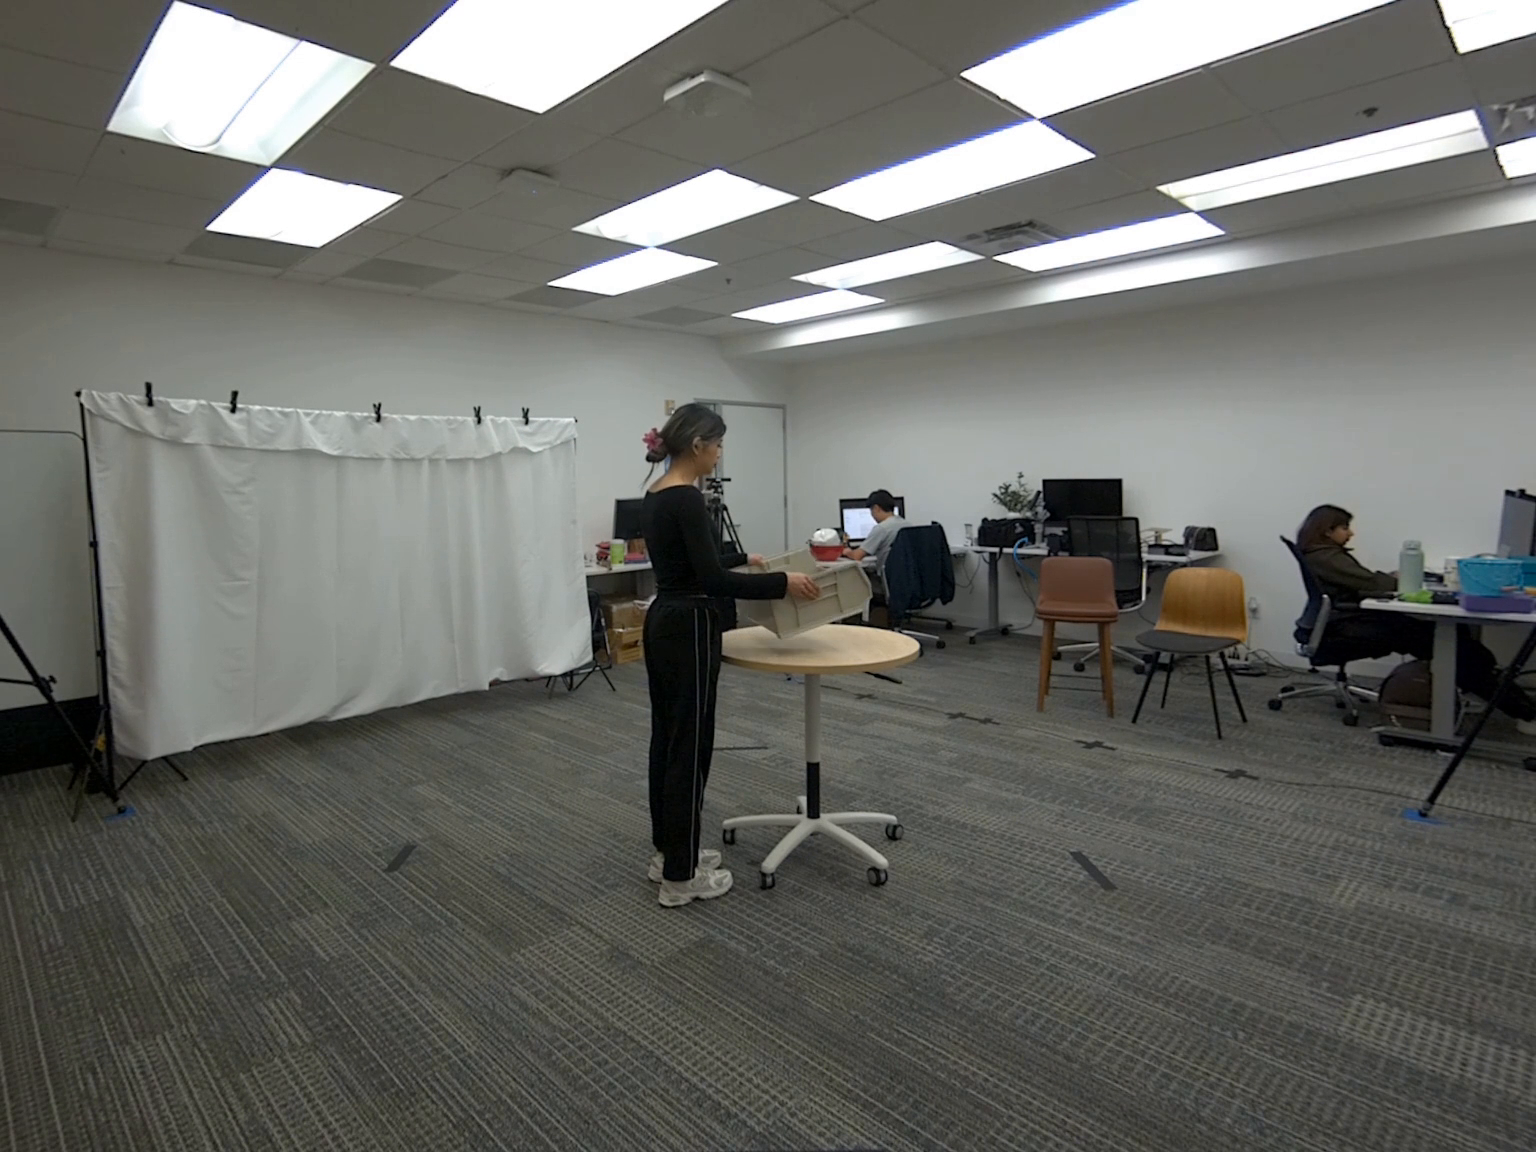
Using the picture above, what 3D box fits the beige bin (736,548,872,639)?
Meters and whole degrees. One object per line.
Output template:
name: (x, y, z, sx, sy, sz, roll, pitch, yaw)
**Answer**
beige bin: (0.109, 0.047, 3.076, 0.373, 0.186, 0.433, -19, 15, -17)
